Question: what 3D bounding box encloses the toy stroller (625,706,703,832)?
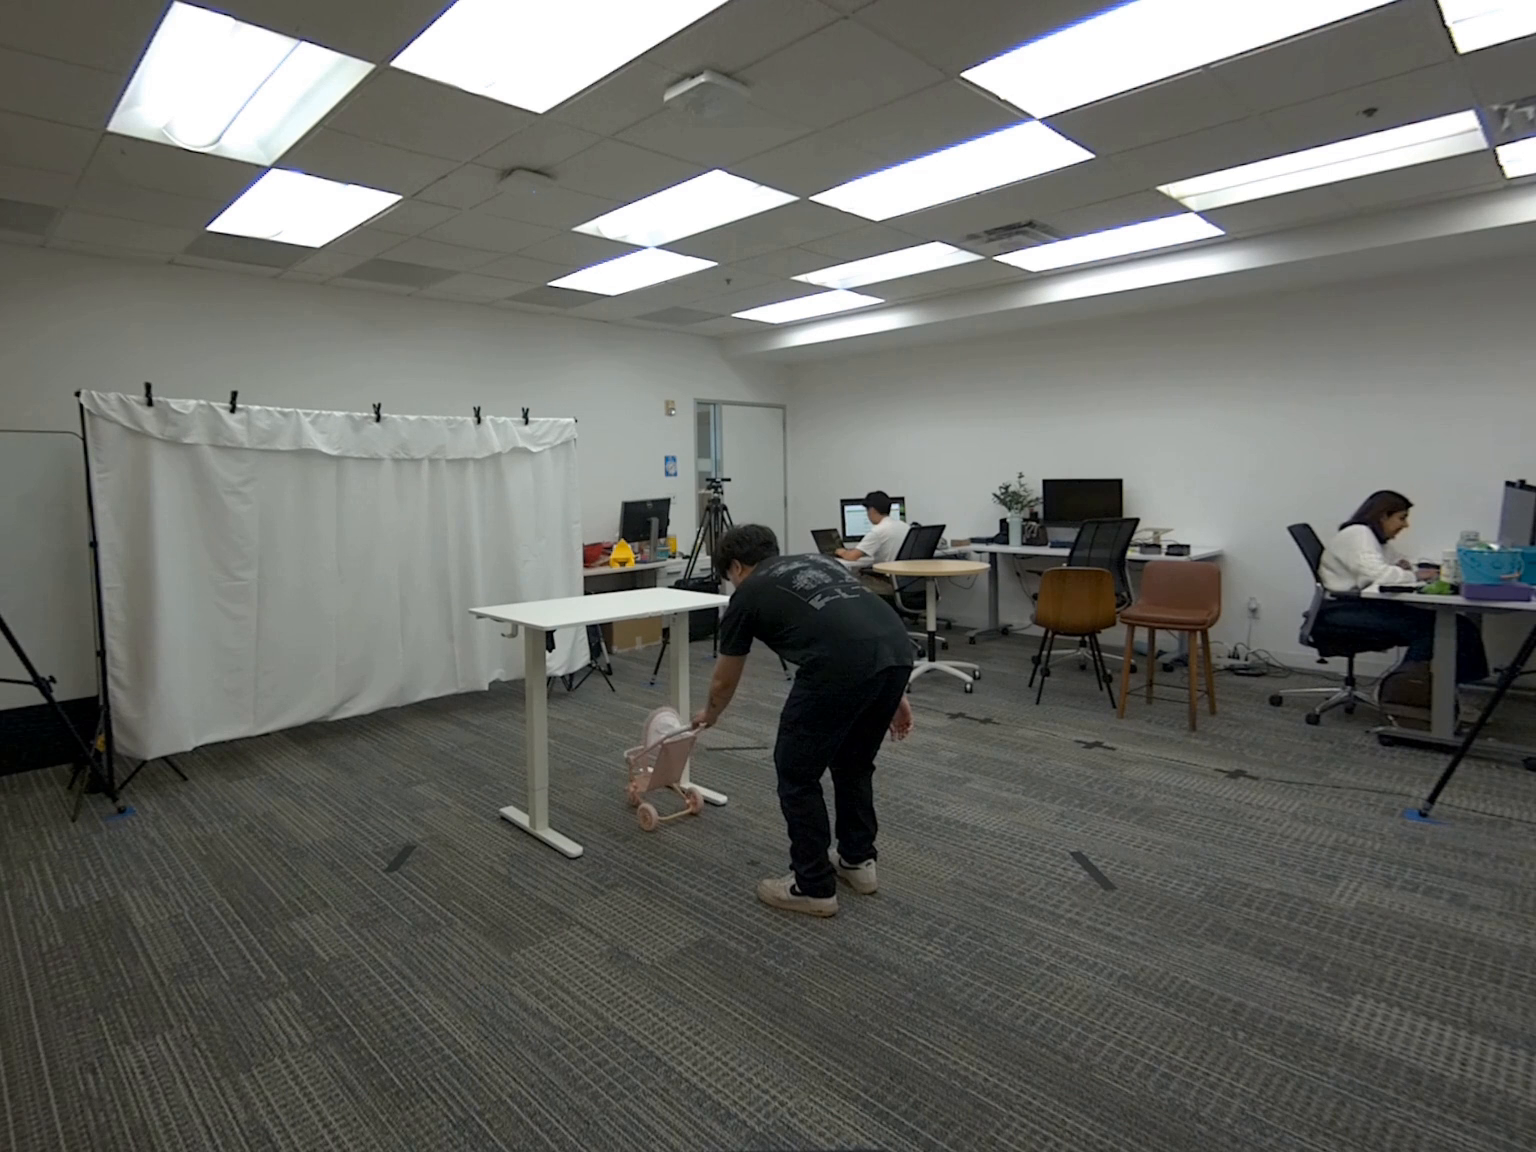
[{"bbox_3d":[-0.438,0.775,3.528,0.274,0.529,0.354,-4,21,-41],"label":"toy stroller"}]
